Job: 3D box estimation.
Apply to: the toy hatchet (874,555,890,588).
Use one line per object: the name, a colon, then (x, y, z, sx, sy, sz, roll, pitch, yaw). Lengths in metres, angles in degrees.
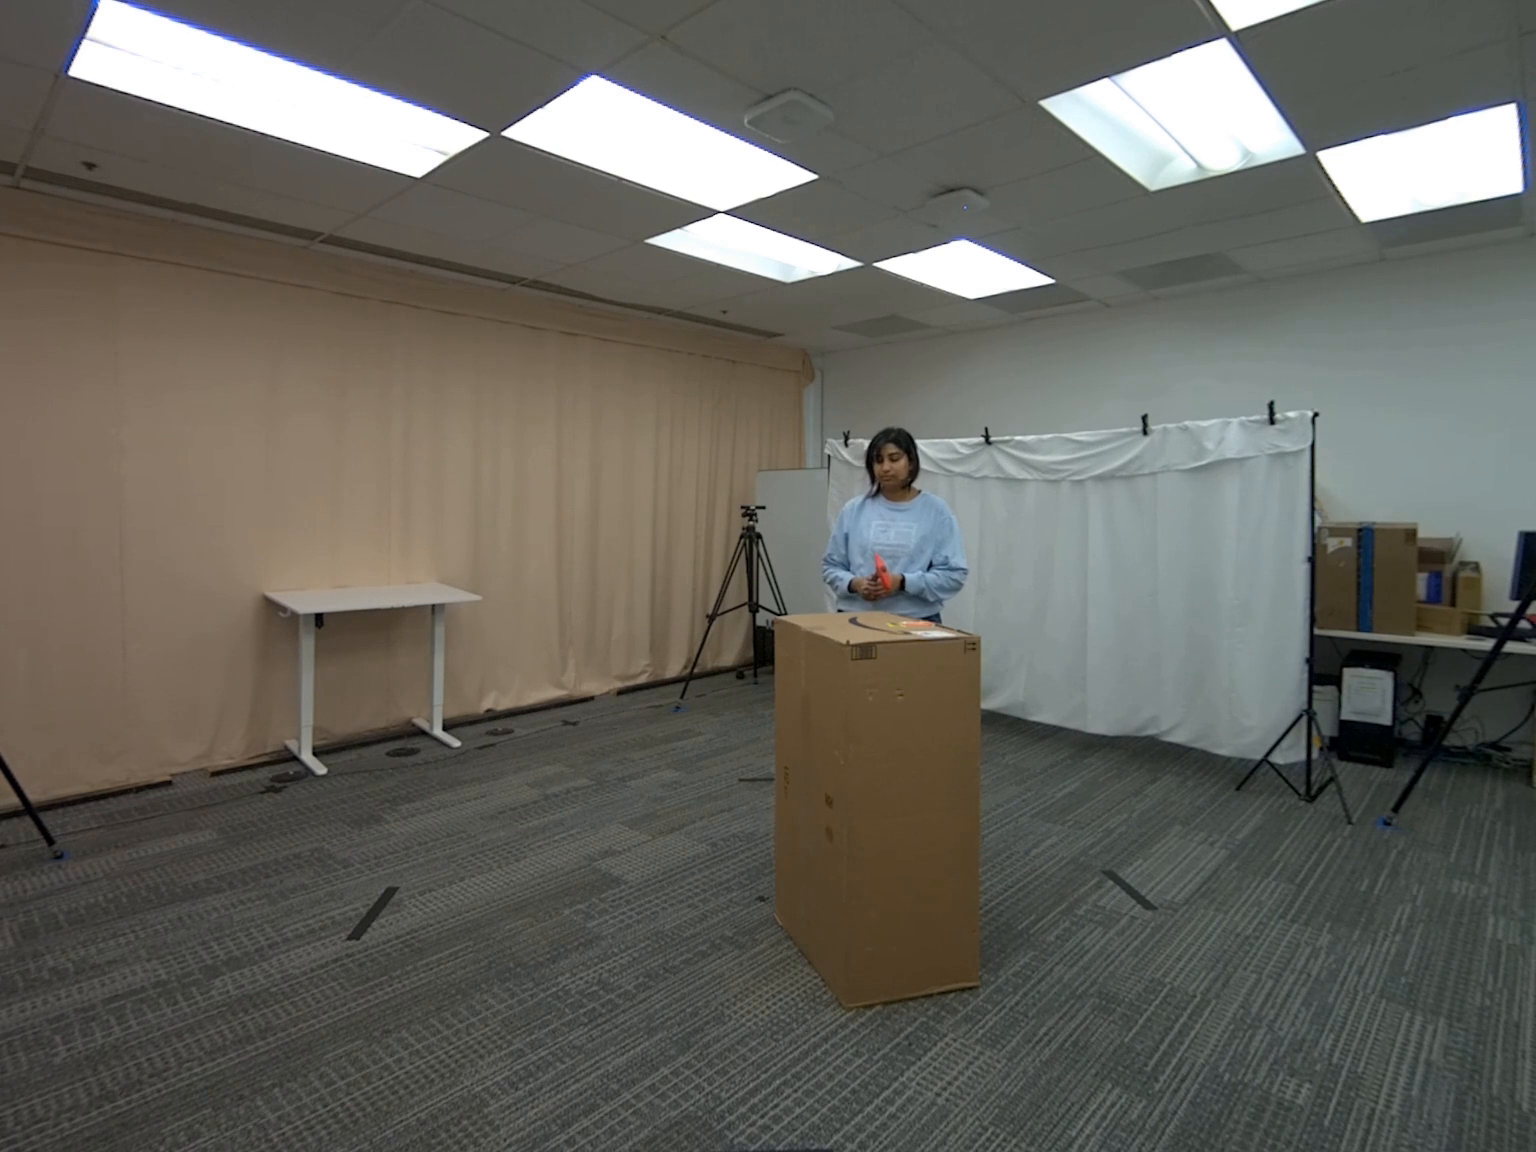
toy hatchet: (0.412, 0.034, 3.147, 0.029, 0.135, 0.264, -21, -32, -9)
